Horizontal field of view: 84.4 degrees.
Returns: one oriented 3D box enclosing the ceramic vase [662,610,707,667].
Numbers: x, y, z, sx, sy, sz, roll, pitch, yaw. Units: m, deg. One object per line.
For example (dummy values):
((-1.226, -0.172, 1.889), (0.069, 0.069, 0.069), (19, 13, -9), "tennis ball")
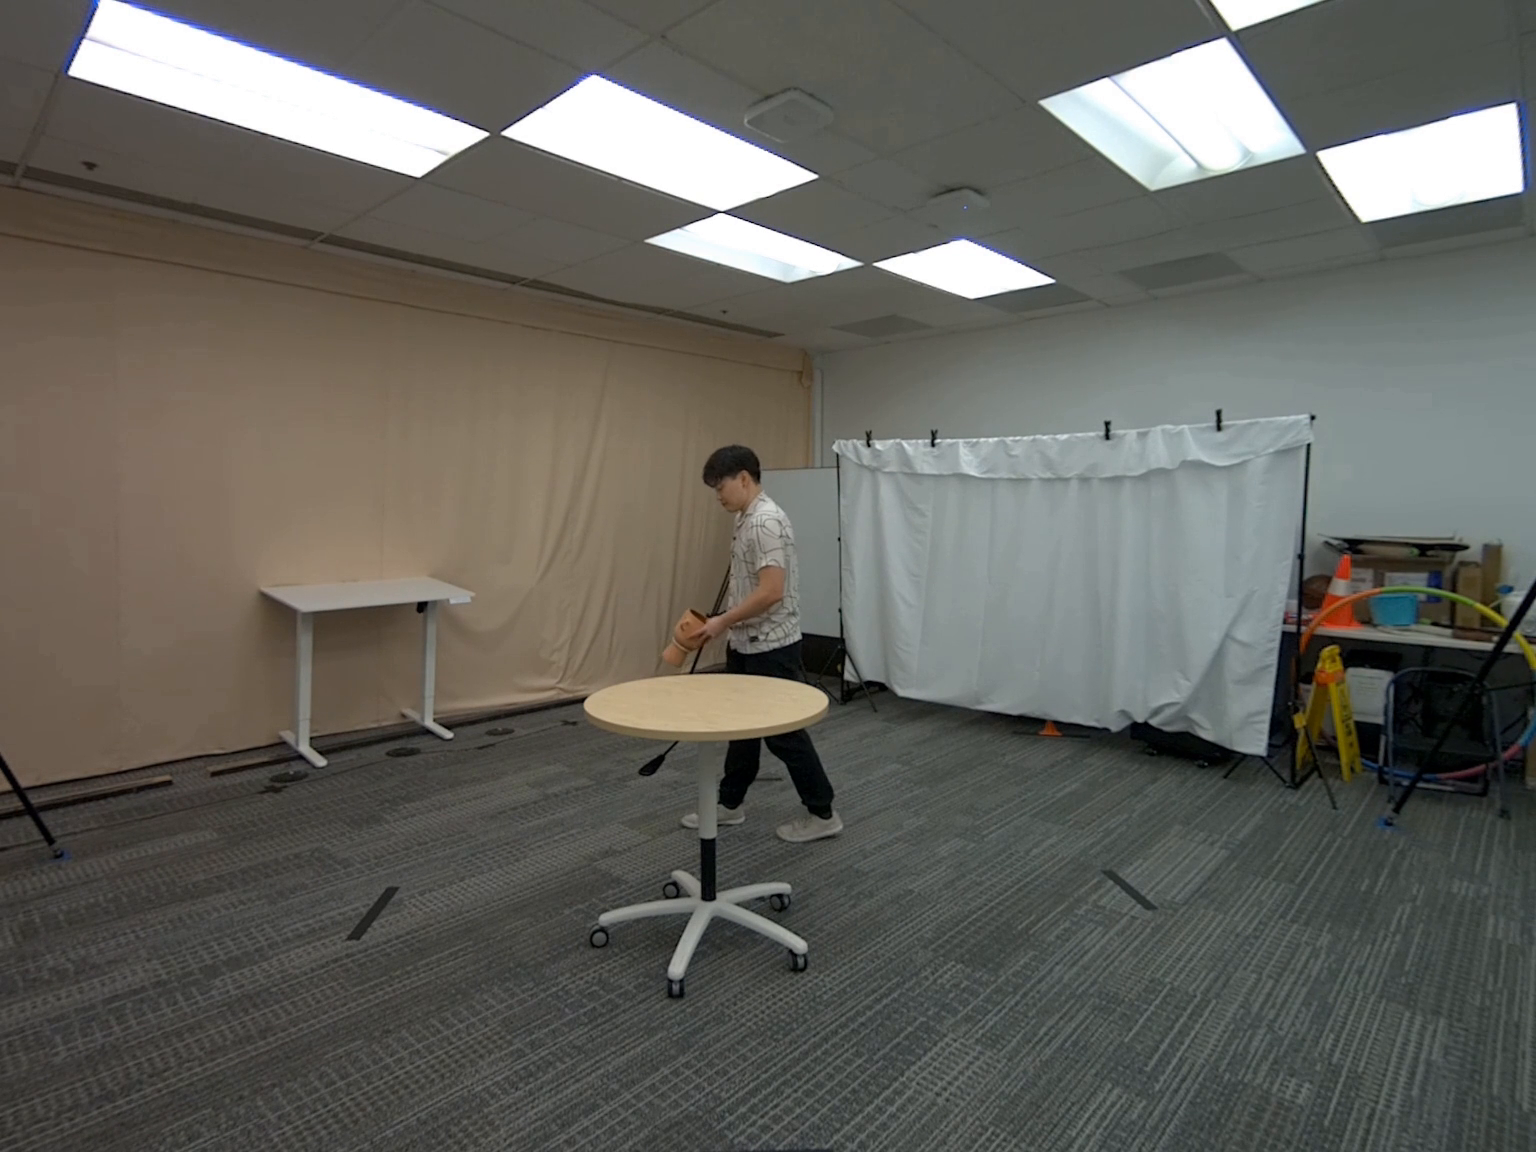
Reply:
((-0.331, 0.263, 3.451), (0.155, 0.220, 0.137), (33, 9, -18), "ceramic vase")
